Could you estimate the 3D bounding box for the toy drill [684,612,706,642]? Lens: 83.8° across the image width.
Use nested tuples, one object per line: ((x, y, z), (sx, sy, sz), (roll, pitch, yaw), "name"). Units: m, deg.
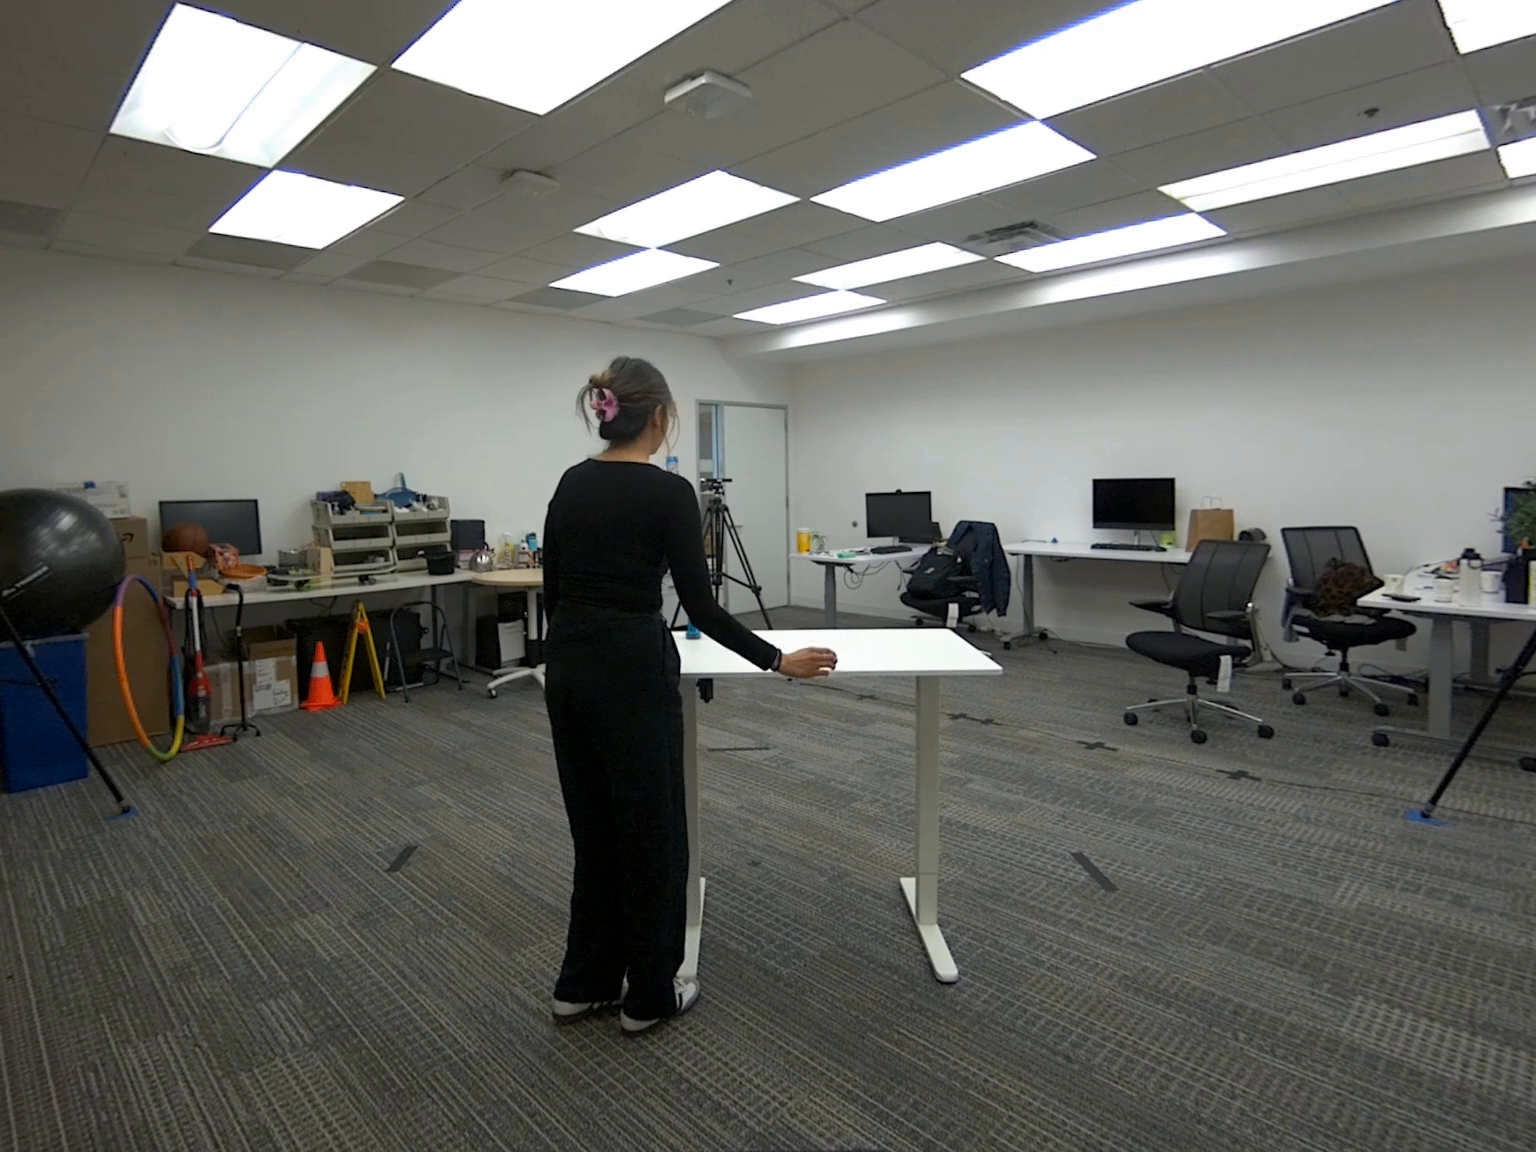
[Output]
((-0.239, 0.124, 2.819), (0.061, 0.145, 0.171), (1, 7, -1), "toy drill")
